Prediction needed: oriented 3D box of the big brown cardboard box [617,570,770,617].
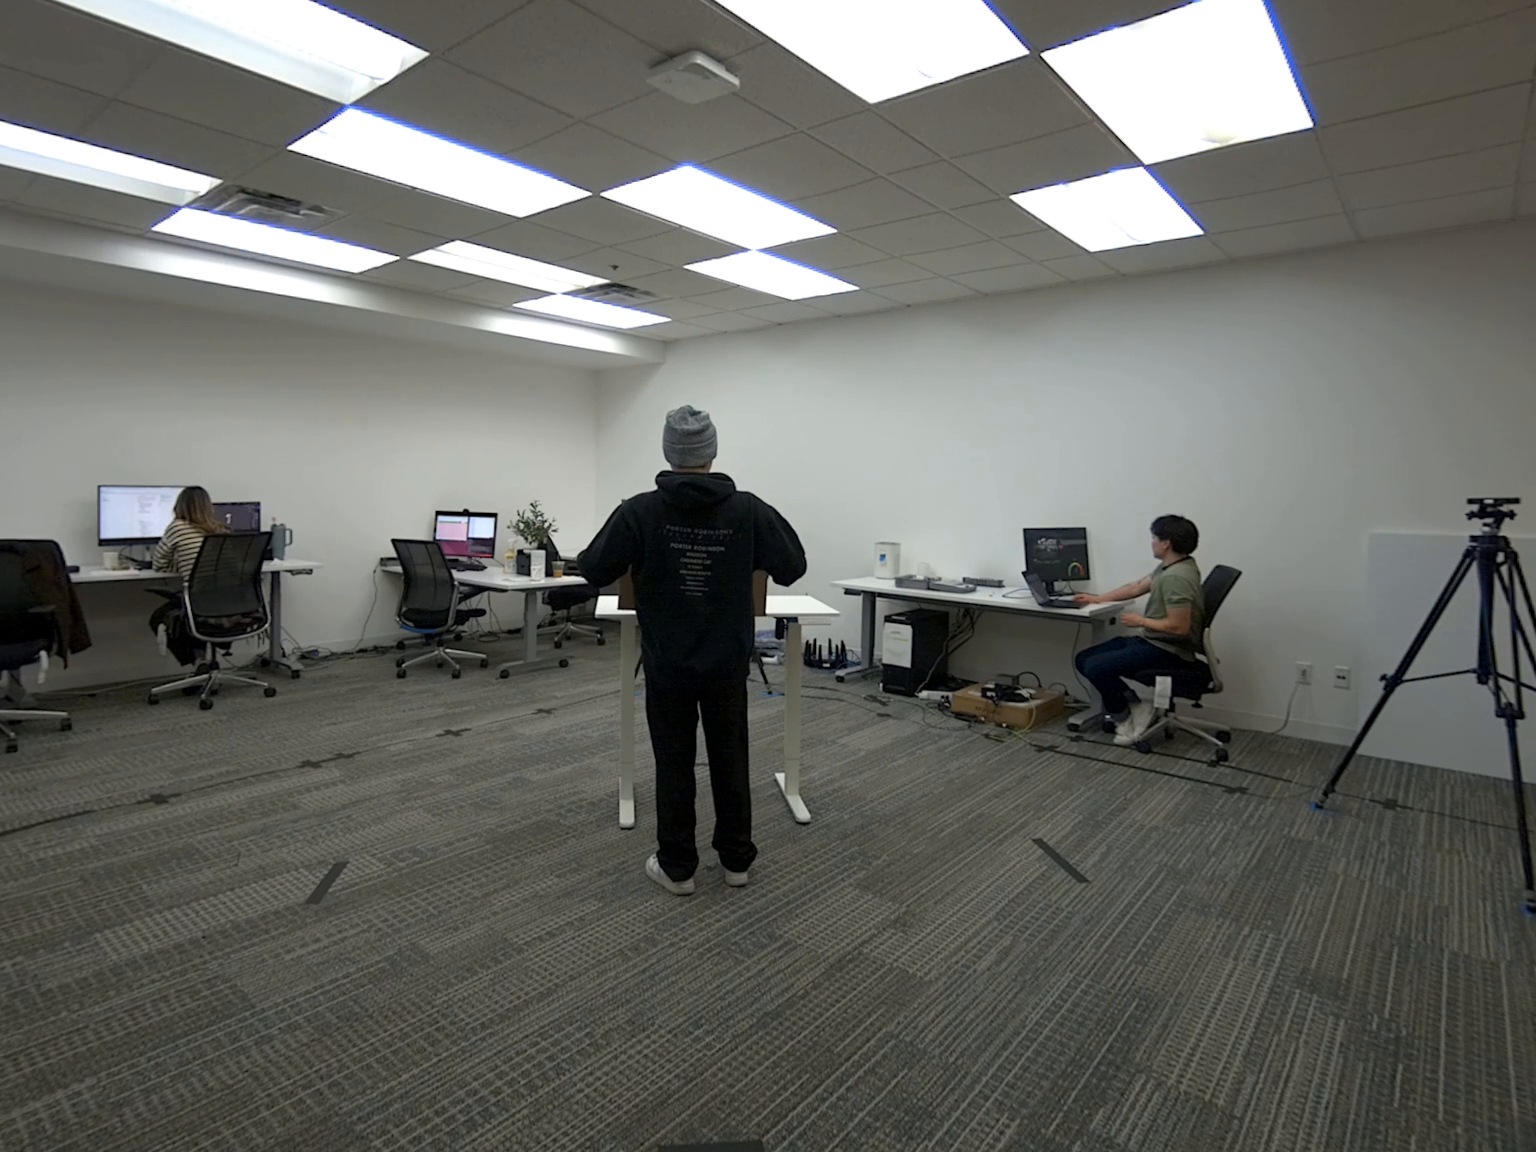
[{"bbox_3d":[-0.292,-0.074,3.290,0.586,0.417,0.234,3,0,-5],"label":"big brown cardboard box"}]
